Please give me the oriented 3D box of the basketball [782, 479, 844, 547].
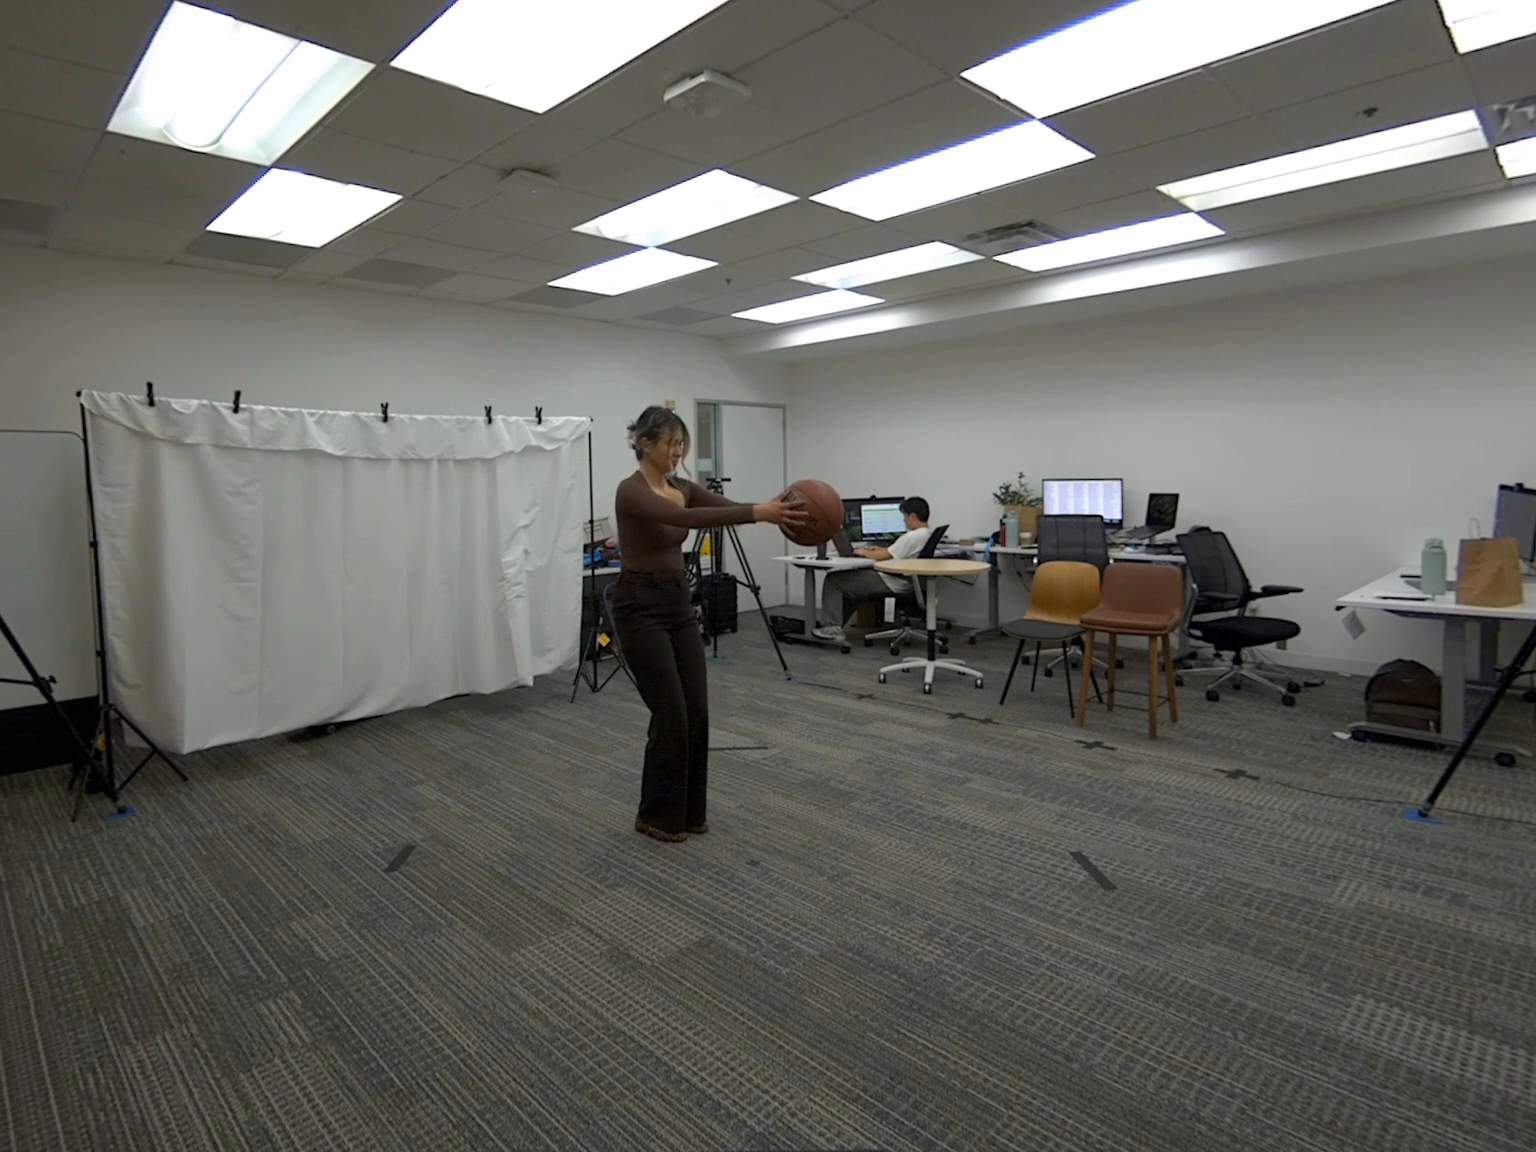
[{"bbox_3d":[0.146,-0.218,3.004,0.236,0.235,0.237,-1,5,-2],"label":"basketball"}]
